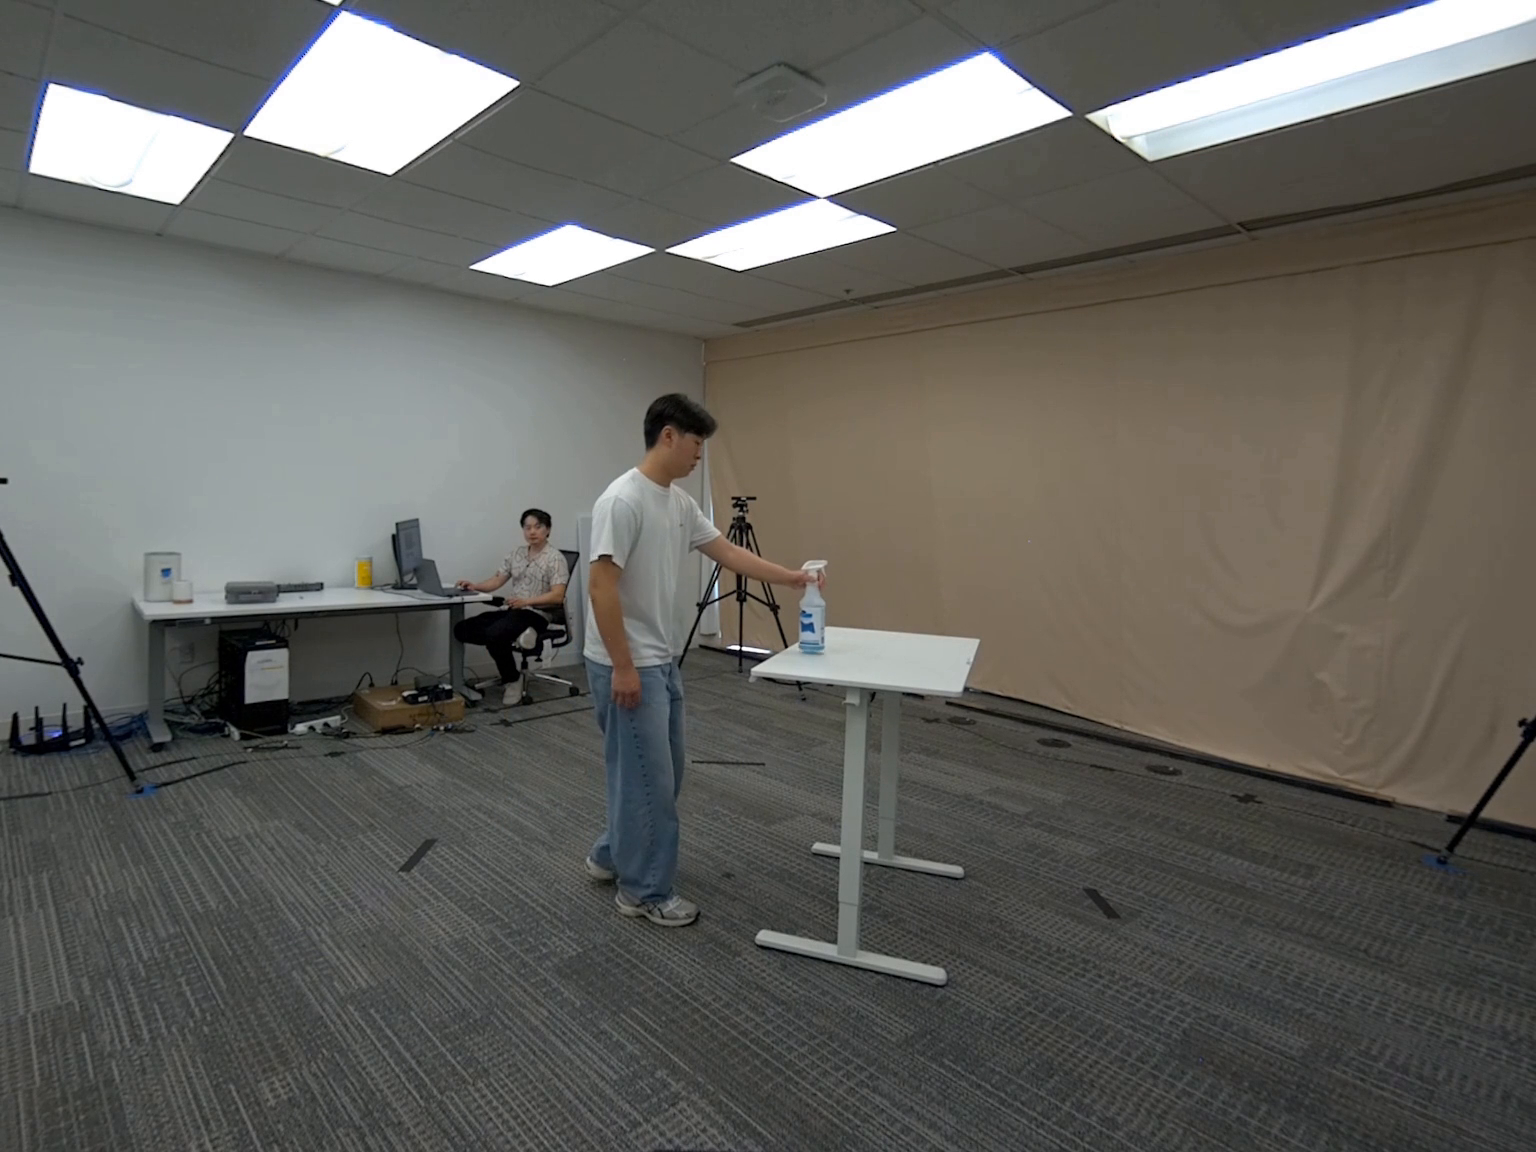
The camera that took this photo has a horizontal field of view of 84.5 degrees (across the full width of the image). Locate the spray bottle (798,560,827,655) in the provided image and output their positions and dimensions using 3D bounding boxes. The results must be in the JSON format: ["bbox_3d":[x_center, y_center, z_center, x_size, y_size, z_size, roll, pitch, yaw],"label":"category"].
[{"bbox_3d":[0.139,0.094,2.785,0.090,0.297,0.087,2,2,3],"label":"spray bottle"}]
